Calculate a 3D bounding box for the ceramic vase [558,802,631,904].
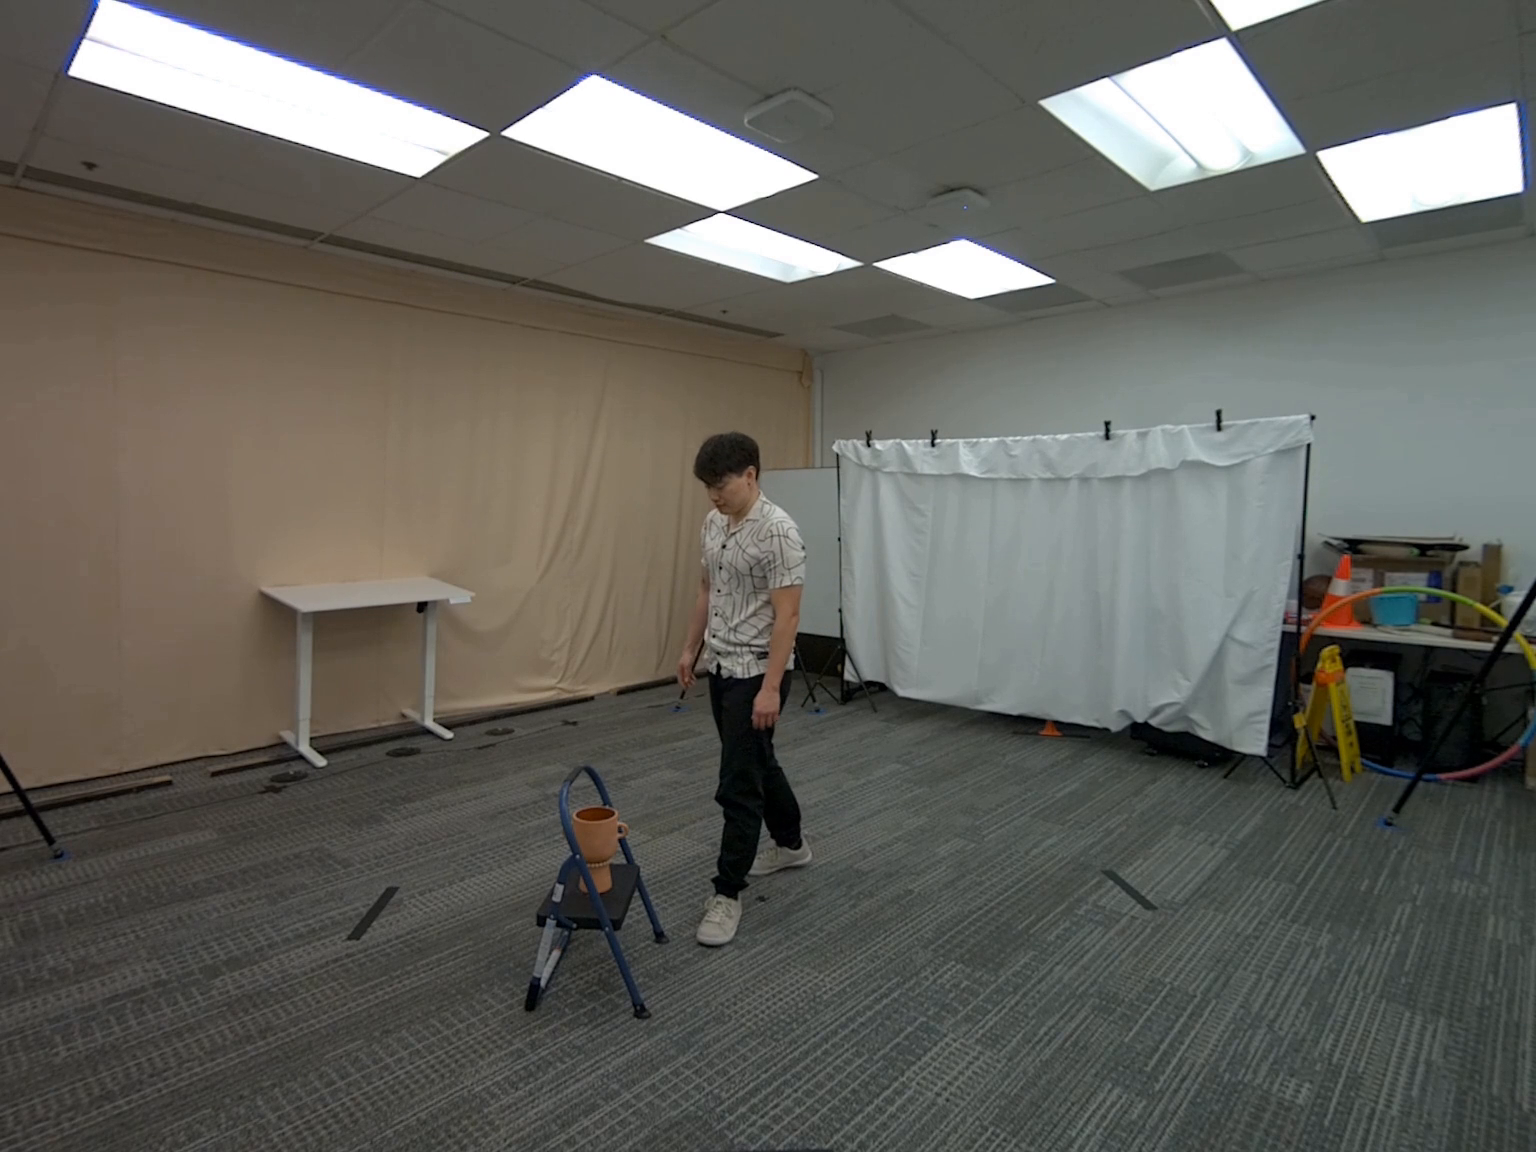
[{"bbox_3d":[-0.512,0.810,2.498,0.164,0.219,0.131,3,5,37],"label":"ceramic vase"}]
